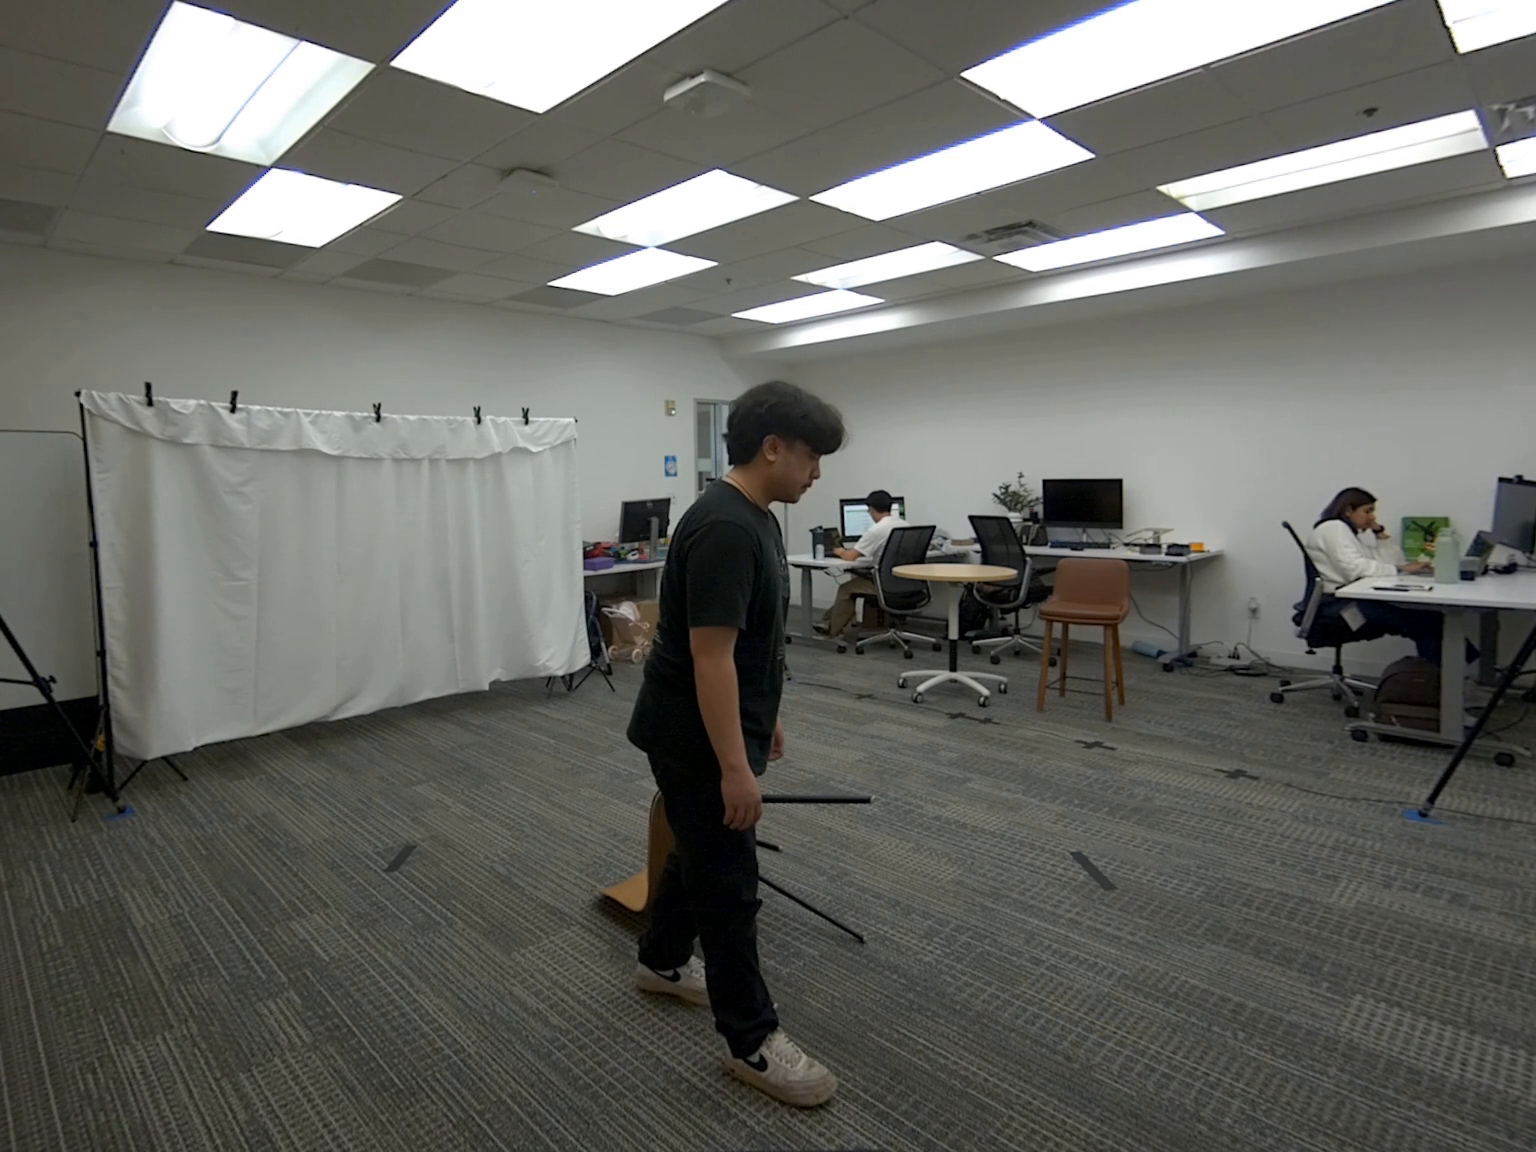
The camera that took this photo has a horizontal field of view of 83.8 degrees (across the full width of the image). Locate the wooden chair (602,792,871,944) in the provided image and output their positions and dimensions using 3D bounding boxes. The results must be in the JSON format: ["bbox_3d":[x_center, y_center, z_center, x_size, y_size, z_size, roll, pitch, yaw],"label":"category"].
[{"bbox_3d":[-0.162,0.838,2.665,0.904,0.521,0.466,3,7,41],"label":"wooden chair"}]
